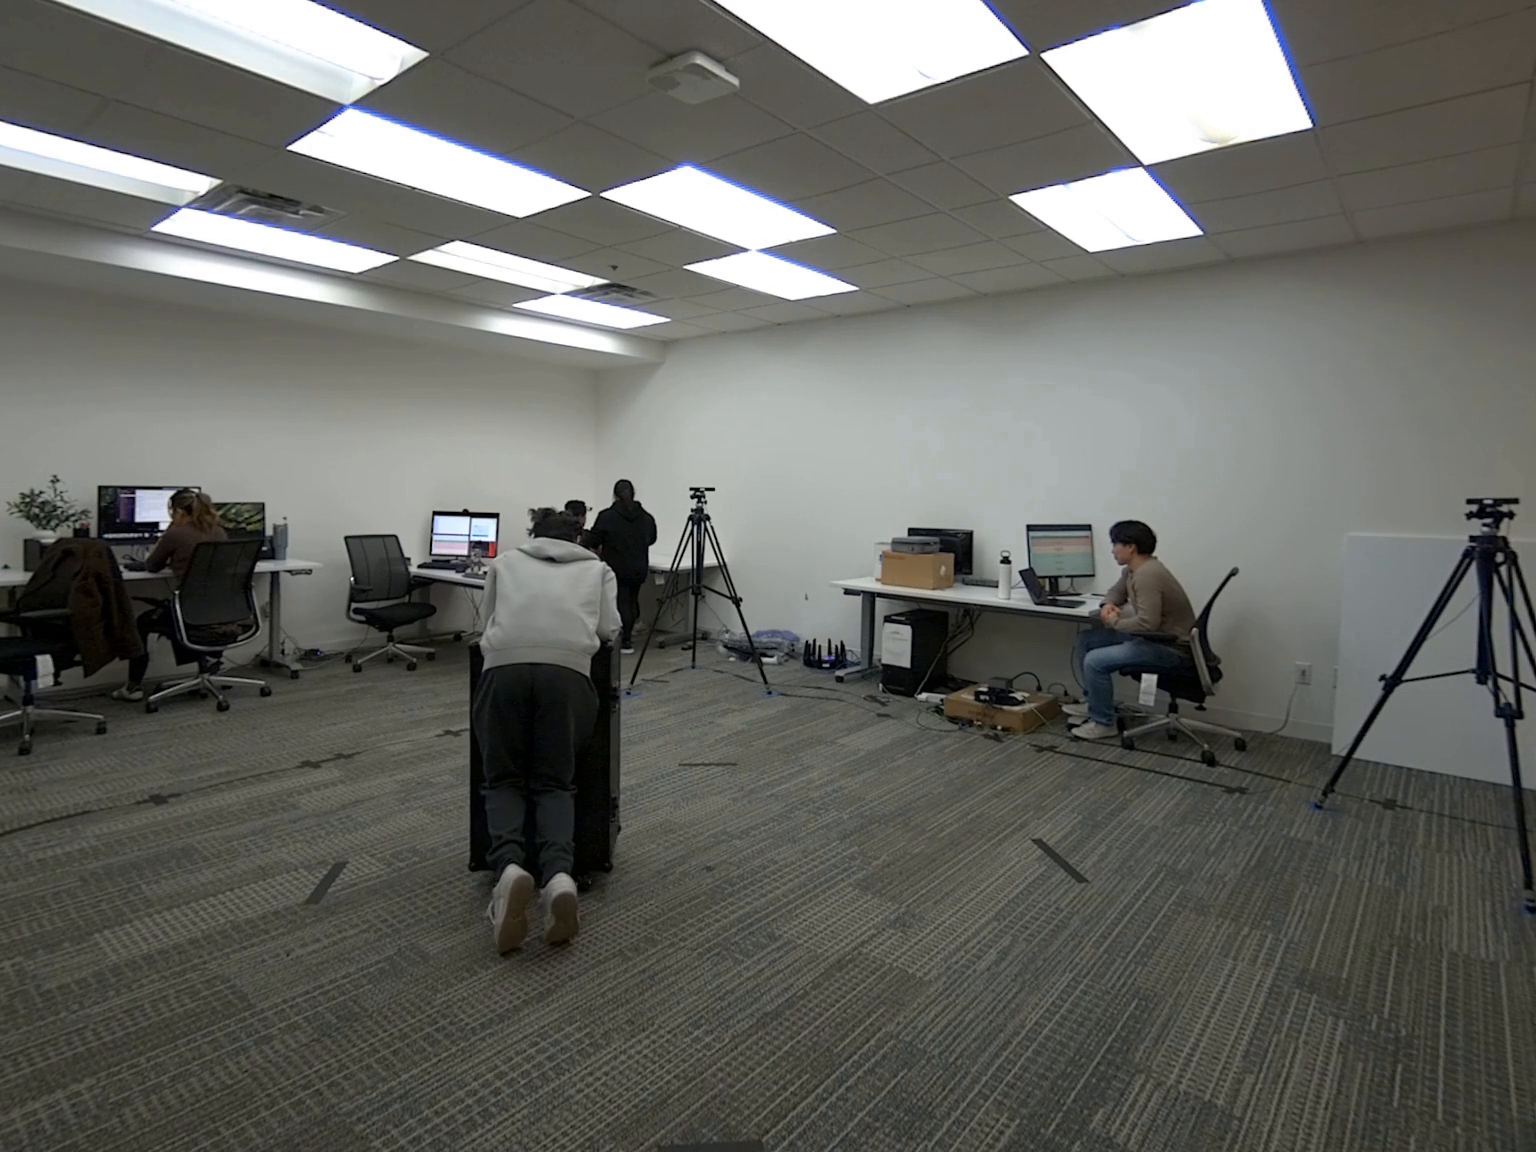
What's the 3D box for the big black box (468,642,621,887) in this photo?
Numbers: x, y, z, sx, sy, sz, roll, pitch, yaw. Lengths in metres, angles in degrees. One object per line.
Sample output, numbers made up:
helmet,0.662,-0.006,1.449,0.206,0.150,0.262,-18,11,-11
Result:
big black box,-0.809,0.640,3.070,0.520,0.860,0.398,1,2,-3
